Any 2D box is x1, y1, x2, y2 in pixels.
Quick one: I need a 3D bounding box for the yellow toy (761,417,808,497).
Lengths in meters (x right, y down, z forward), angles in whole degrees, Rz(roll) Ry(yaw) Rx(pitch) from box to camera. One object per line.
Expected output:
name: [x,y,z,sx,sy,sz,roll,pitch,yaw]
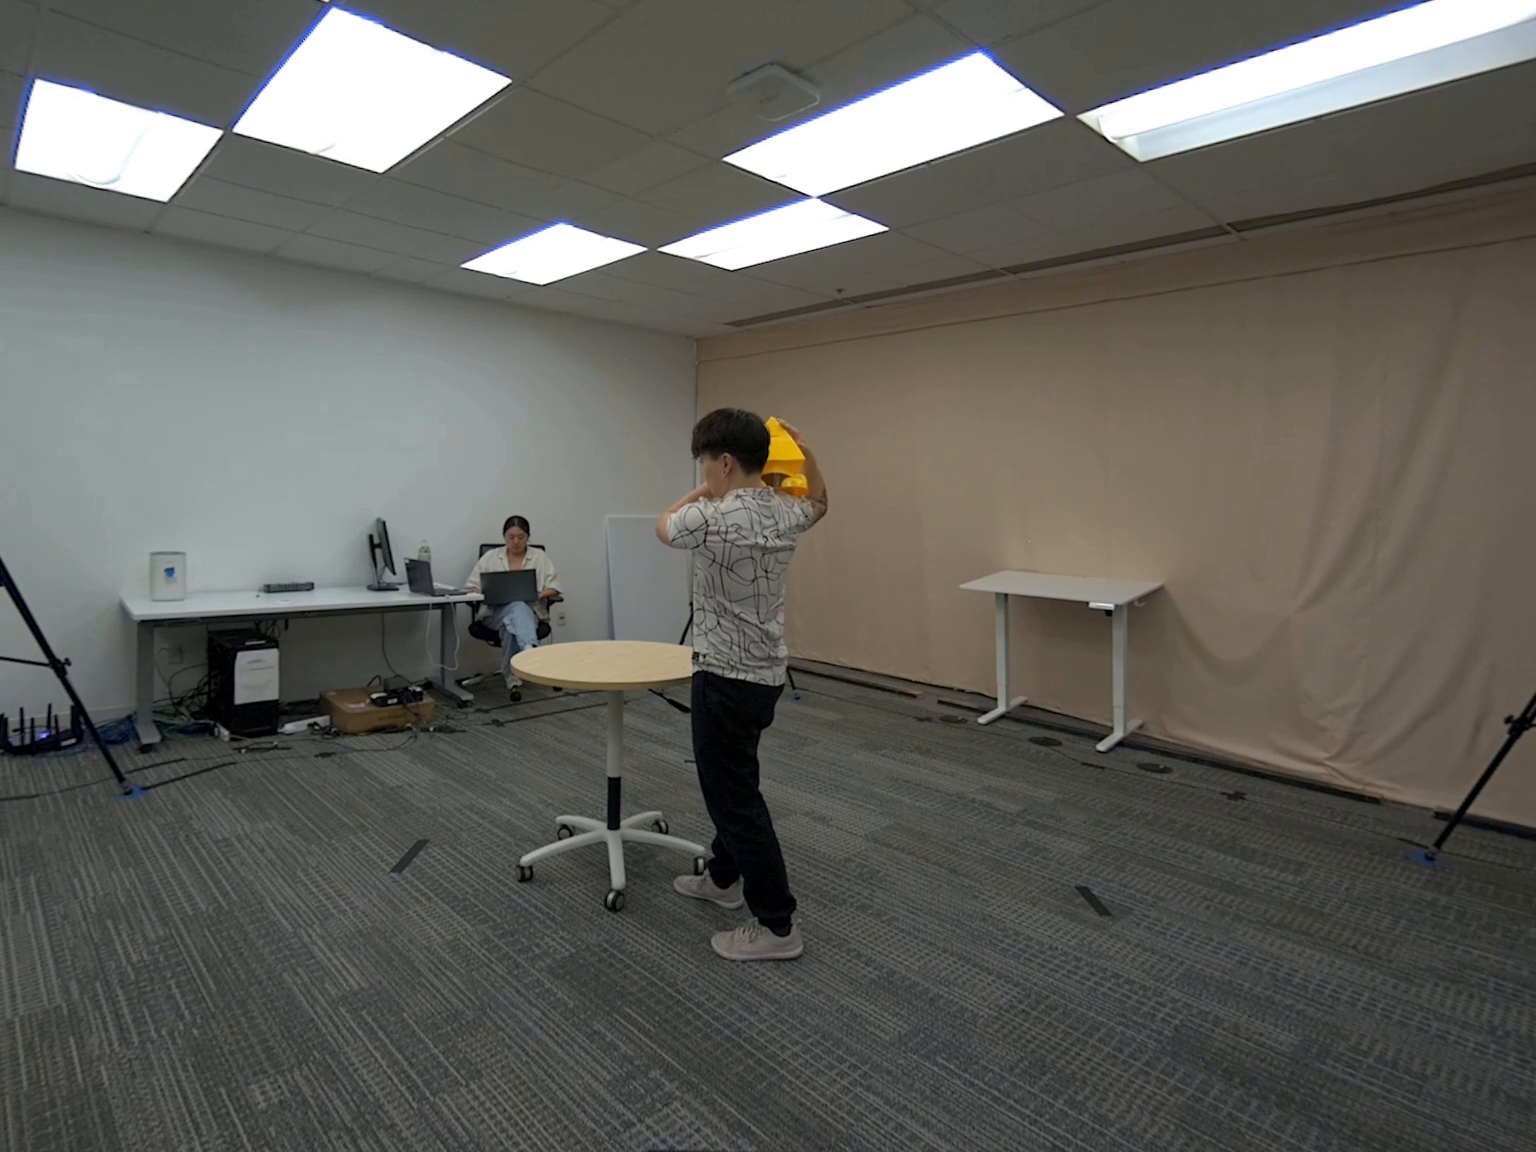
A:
yellow toy: [0.011,-0.379,2.696,0.206,0.232,0.190,-3,-8,8]
